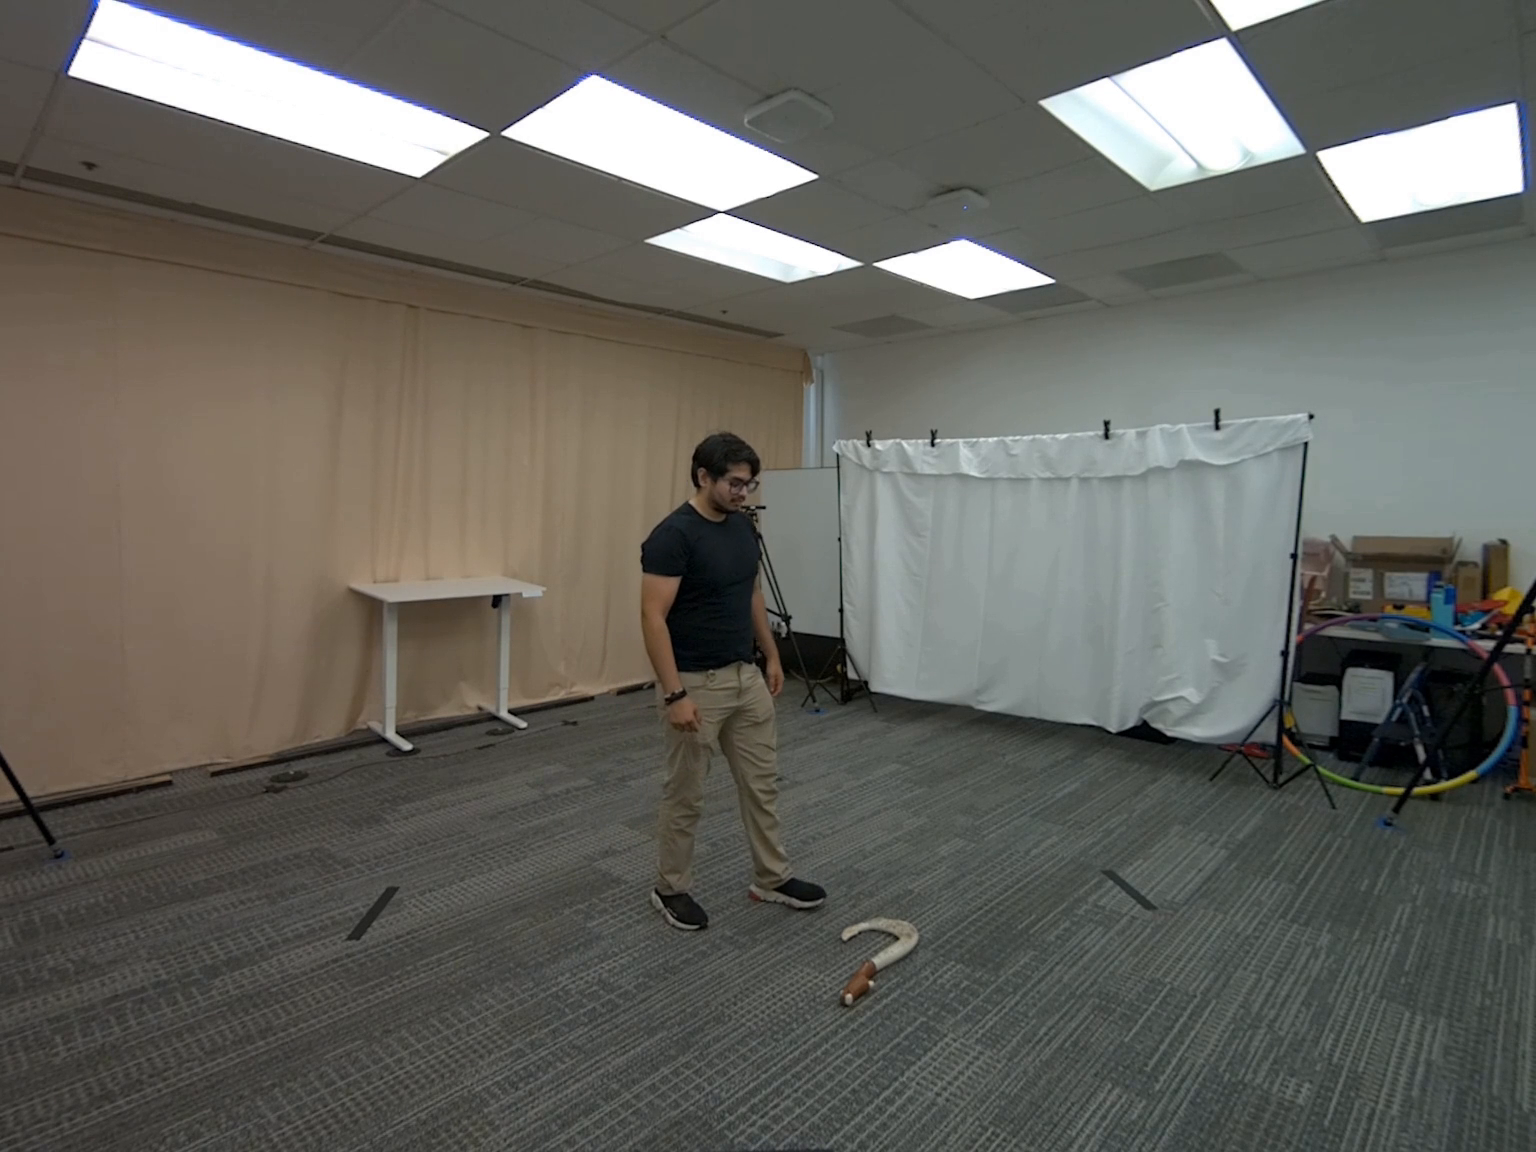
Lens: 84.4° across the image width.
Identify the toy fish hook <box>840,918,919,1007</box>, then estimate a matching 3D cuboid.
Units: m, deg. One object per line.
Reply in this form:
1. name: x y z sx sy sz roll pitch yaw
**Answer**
1. toy fish hook: 0.295 1.162 2.563 0.231 0.048 0.493 -5 1 31
